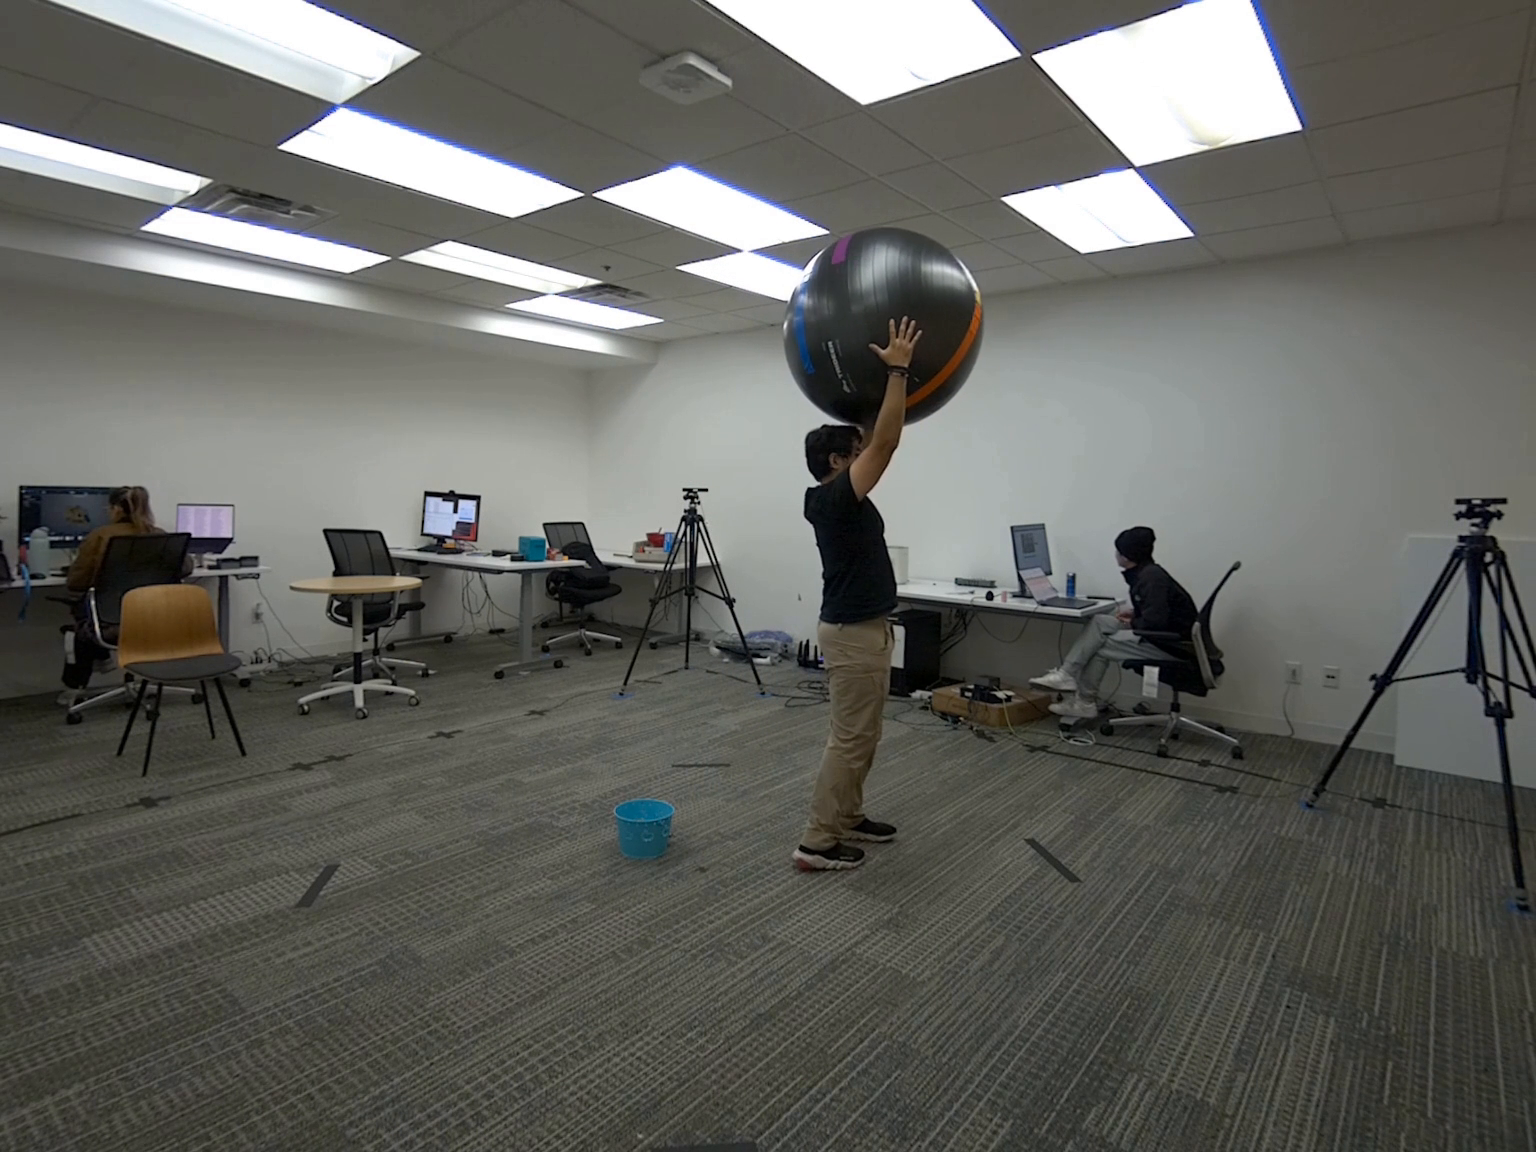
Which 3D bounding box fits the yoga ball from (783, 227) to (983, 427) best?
[{"bbox_3d":[0.426,-0.945,3.291,0.757,0.756,0.761,1,4,-2],"label":"yoga ball"}]
